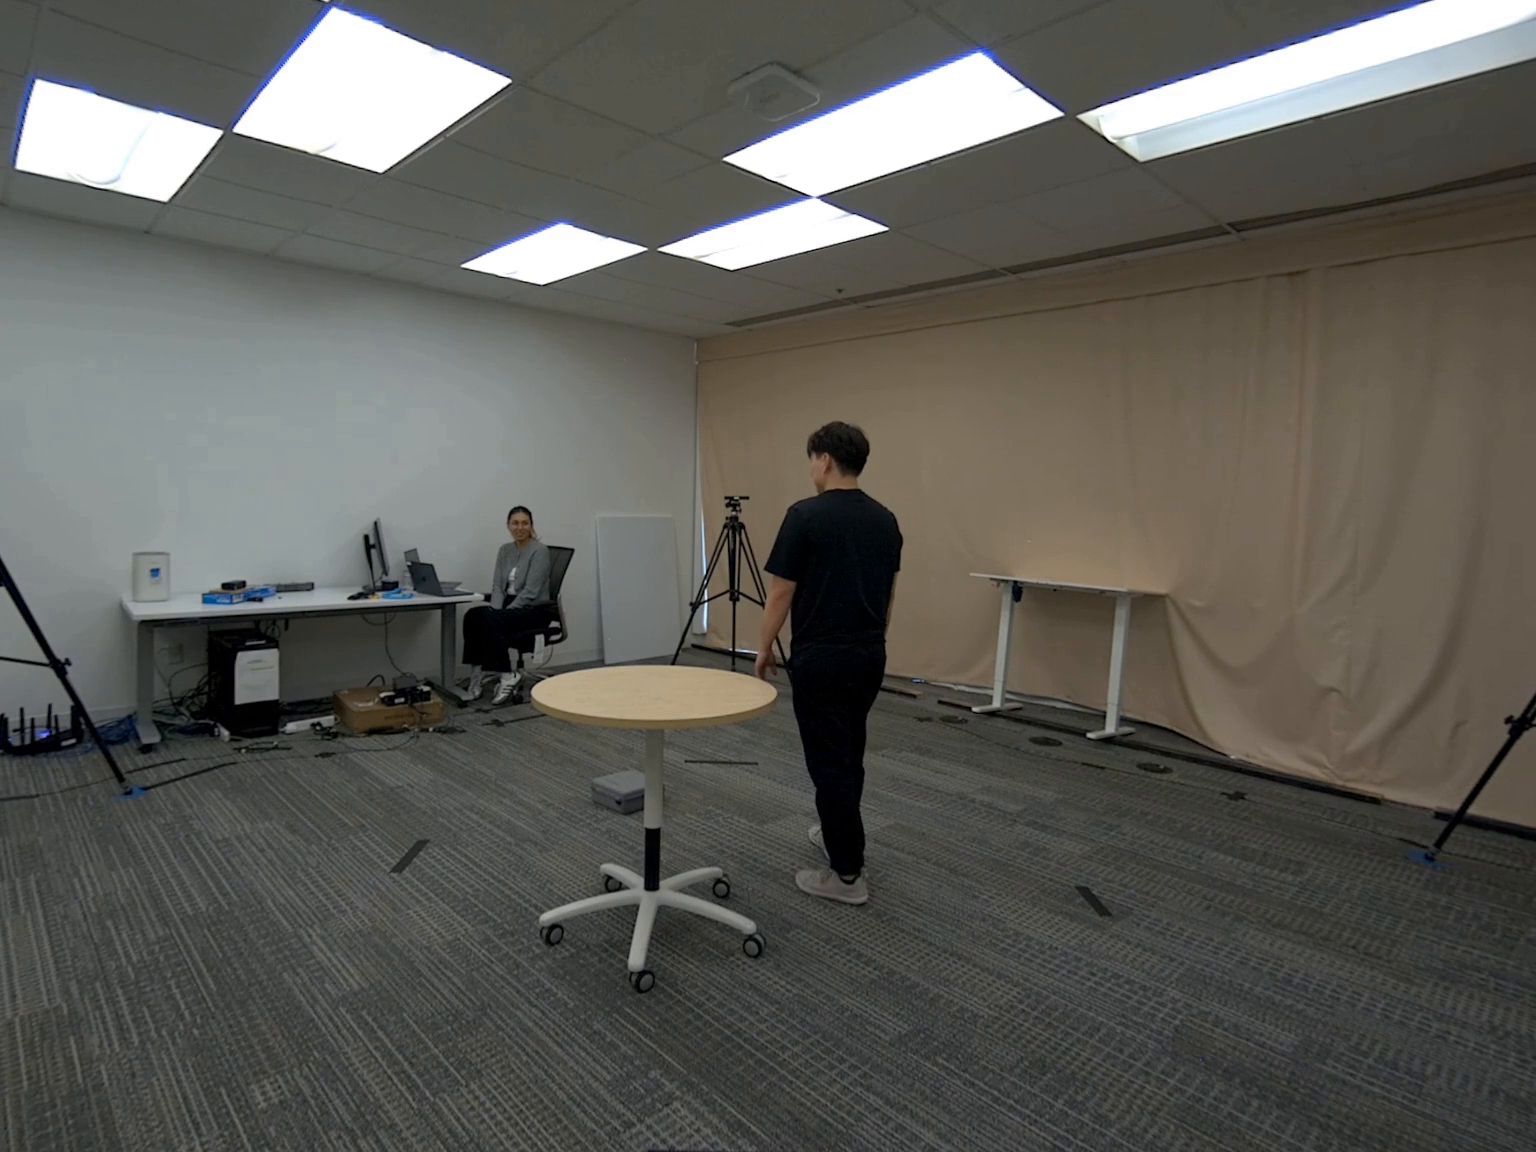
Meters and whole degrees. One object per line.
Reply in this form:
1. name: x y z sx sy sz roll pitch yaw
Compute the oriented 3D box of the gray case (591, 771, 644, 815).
1. gray case: -0.648 0.975 3.830 0.263 0.104 0.254 5 5 42
